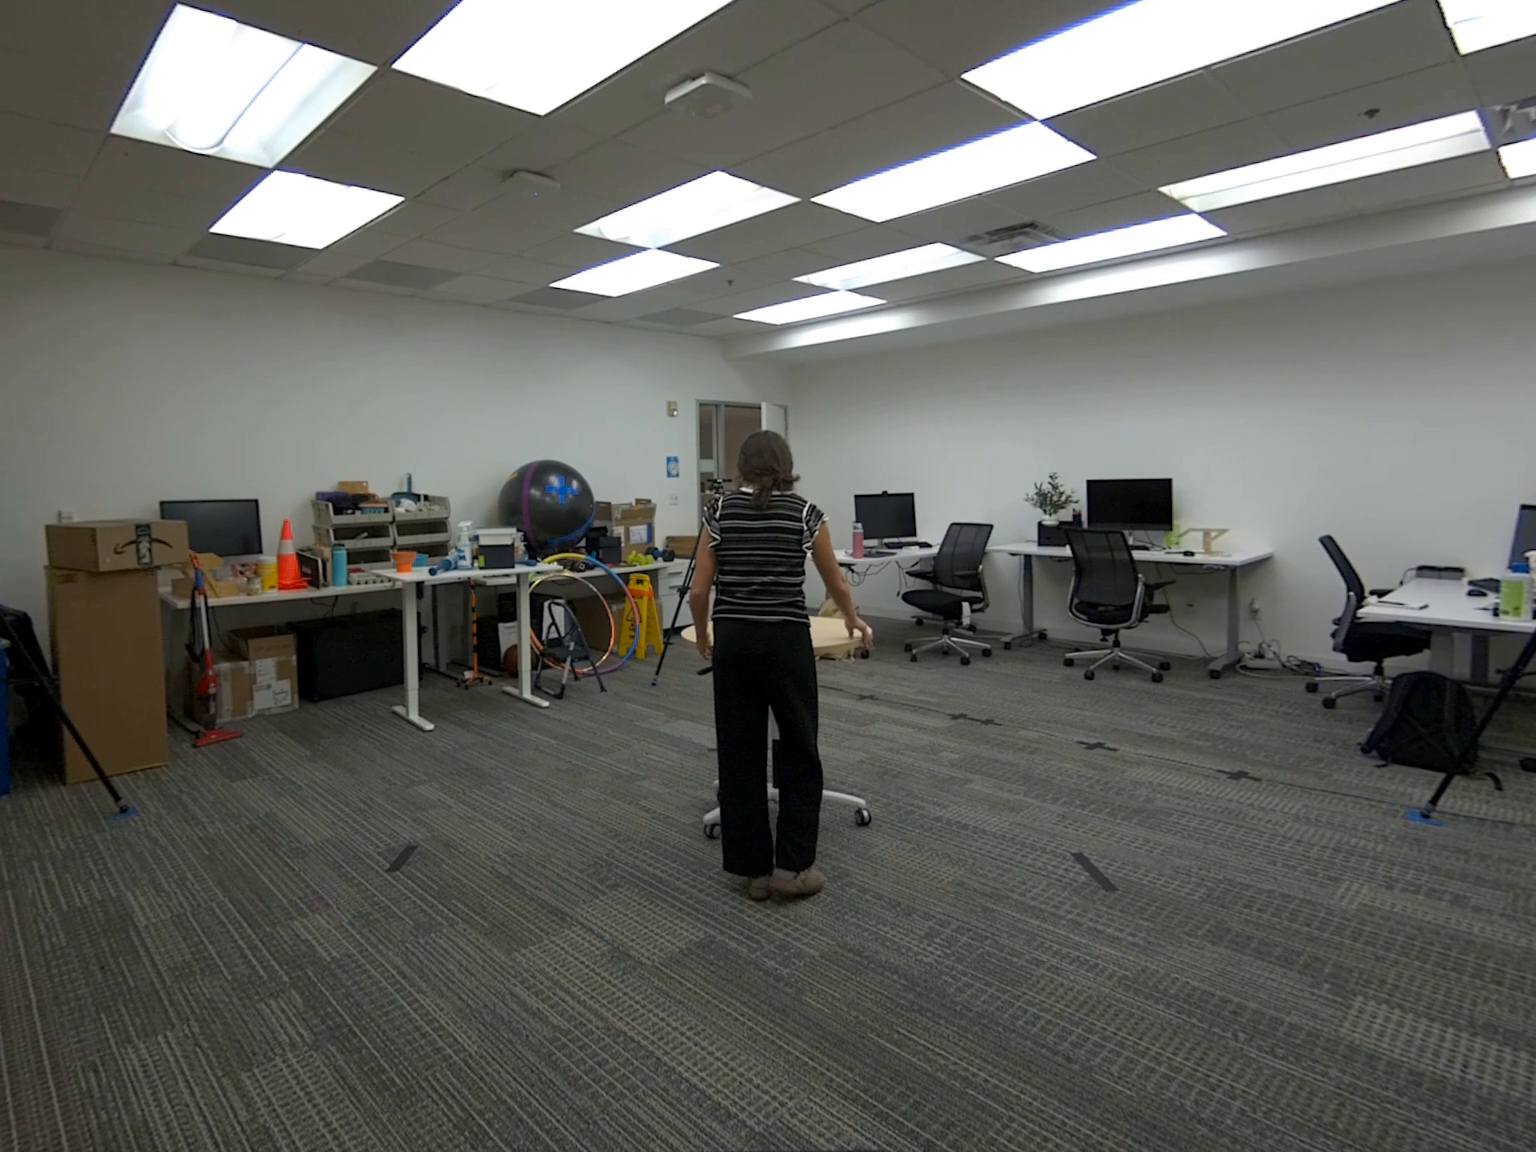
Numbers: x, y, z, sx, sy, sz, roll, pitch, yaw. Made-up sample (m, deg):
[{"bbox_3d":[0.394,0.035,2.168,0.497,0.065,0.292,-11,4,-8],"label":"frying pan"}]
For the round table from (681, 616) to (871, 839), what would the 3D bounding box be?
[{"bbox_3d":[0.028,0.608,3.467,0.784,0.784,0.789,-1,5,-2],"label":"round table"}]
